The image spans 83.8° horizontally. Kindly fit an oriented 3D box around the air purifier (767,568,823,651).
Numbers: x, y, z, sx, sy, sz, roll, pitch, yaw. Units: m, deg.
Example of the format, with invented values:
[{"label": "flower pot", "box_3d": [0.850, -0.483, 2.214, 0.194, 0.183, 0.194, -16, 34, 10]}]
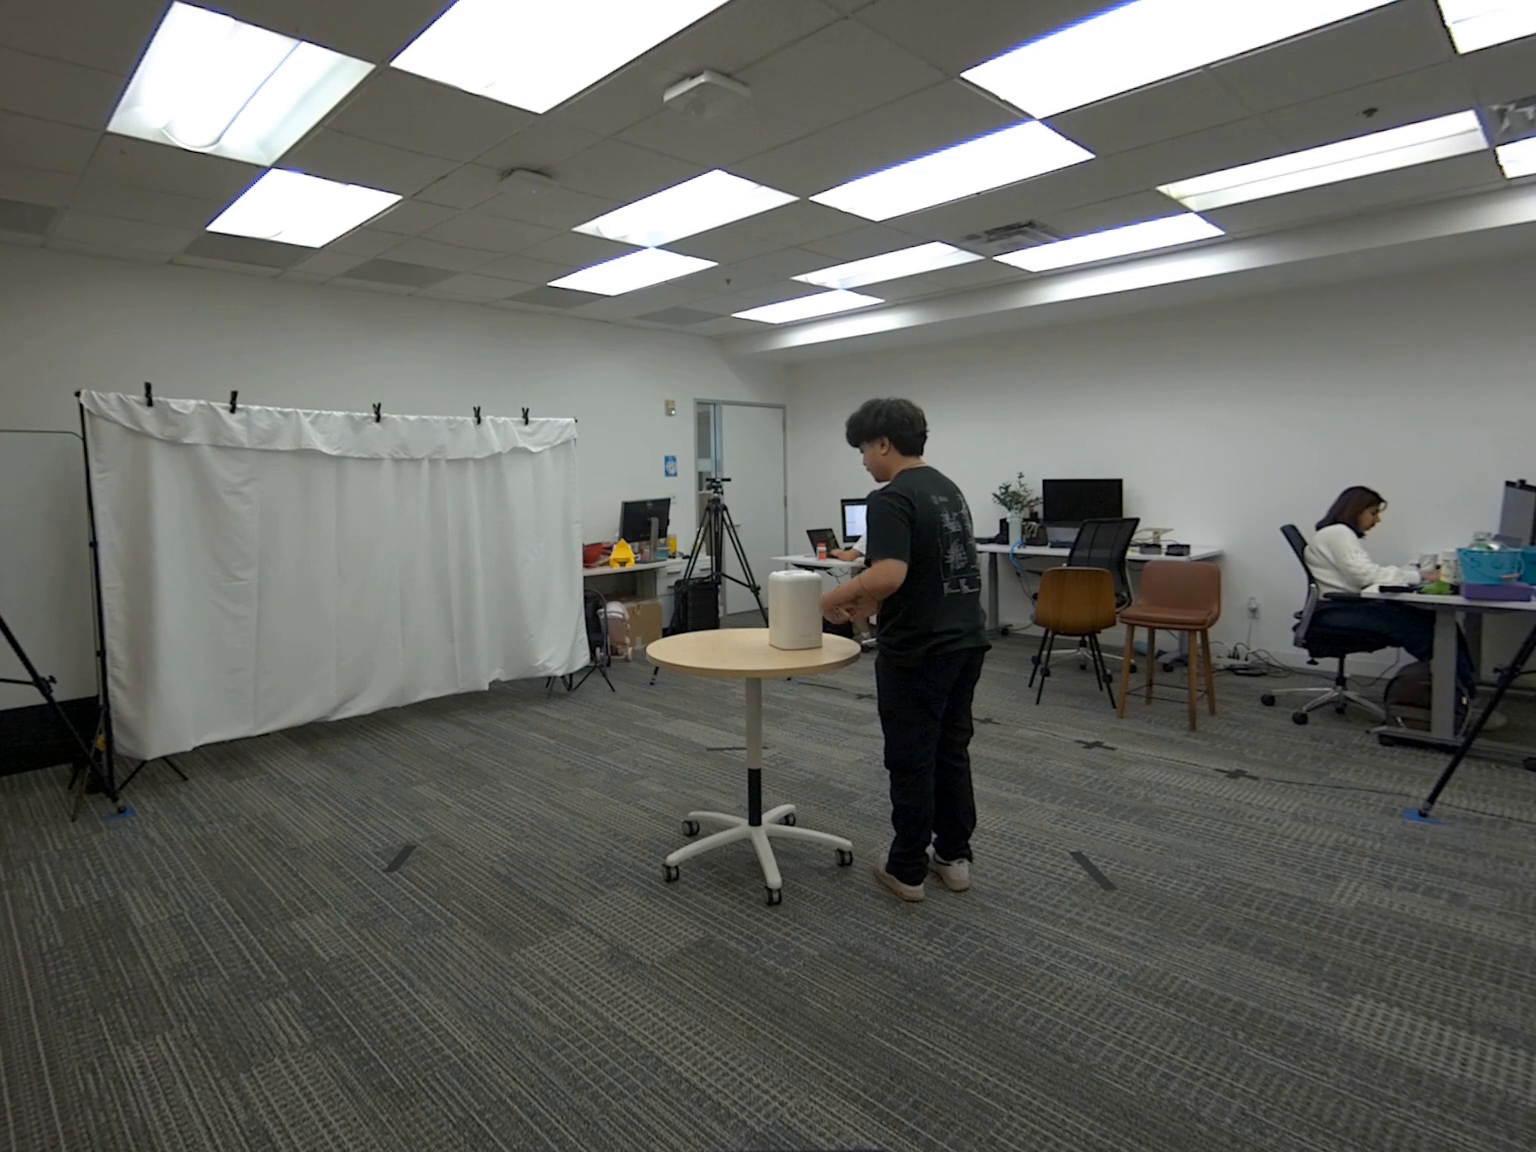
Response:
[{"label": "air purifier", "box_3d": [0.104, 0.117, 3.072, 0.168, 0.264, 0.175, -2, 5, -18]}]
